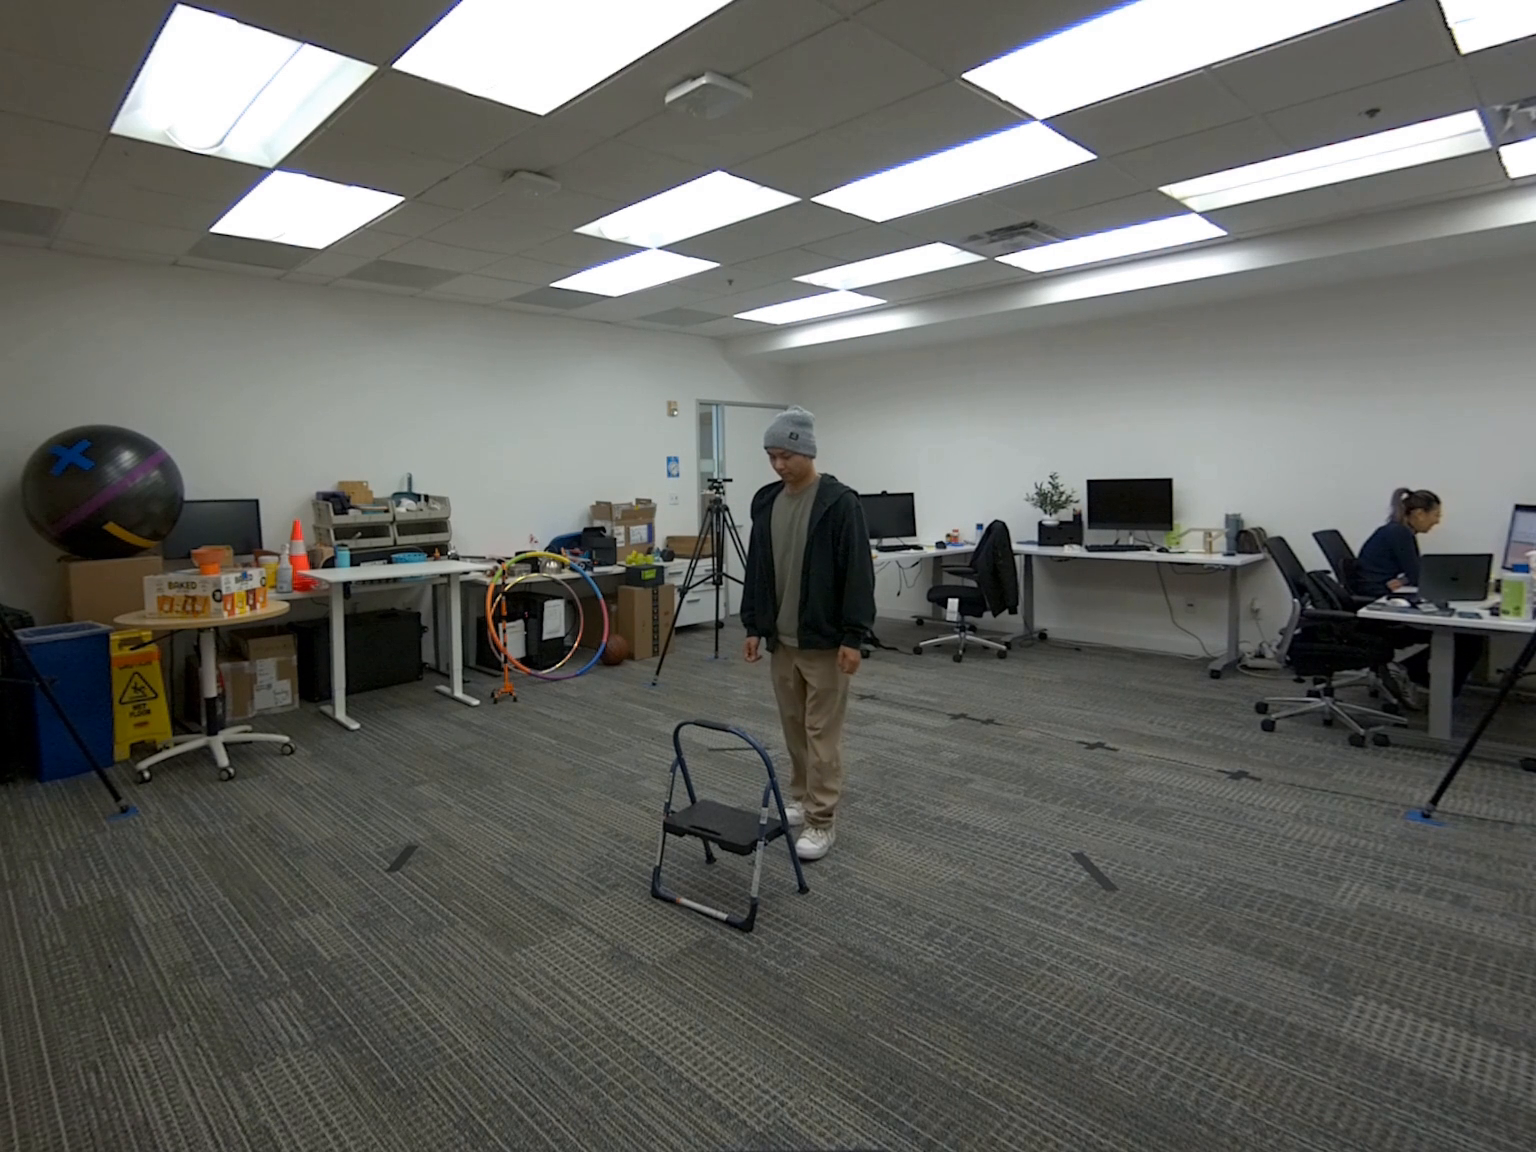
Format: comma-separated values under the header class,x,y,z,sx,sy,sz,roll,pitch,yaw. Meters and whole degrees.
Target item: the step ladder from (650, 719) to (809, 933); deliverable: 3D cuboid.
class,x,y,z,sx,sy,sz,roll,pitch,yaw
step ladder,-0.134,0.771,2.866,0.443,0.604,0.341,2,5,35
